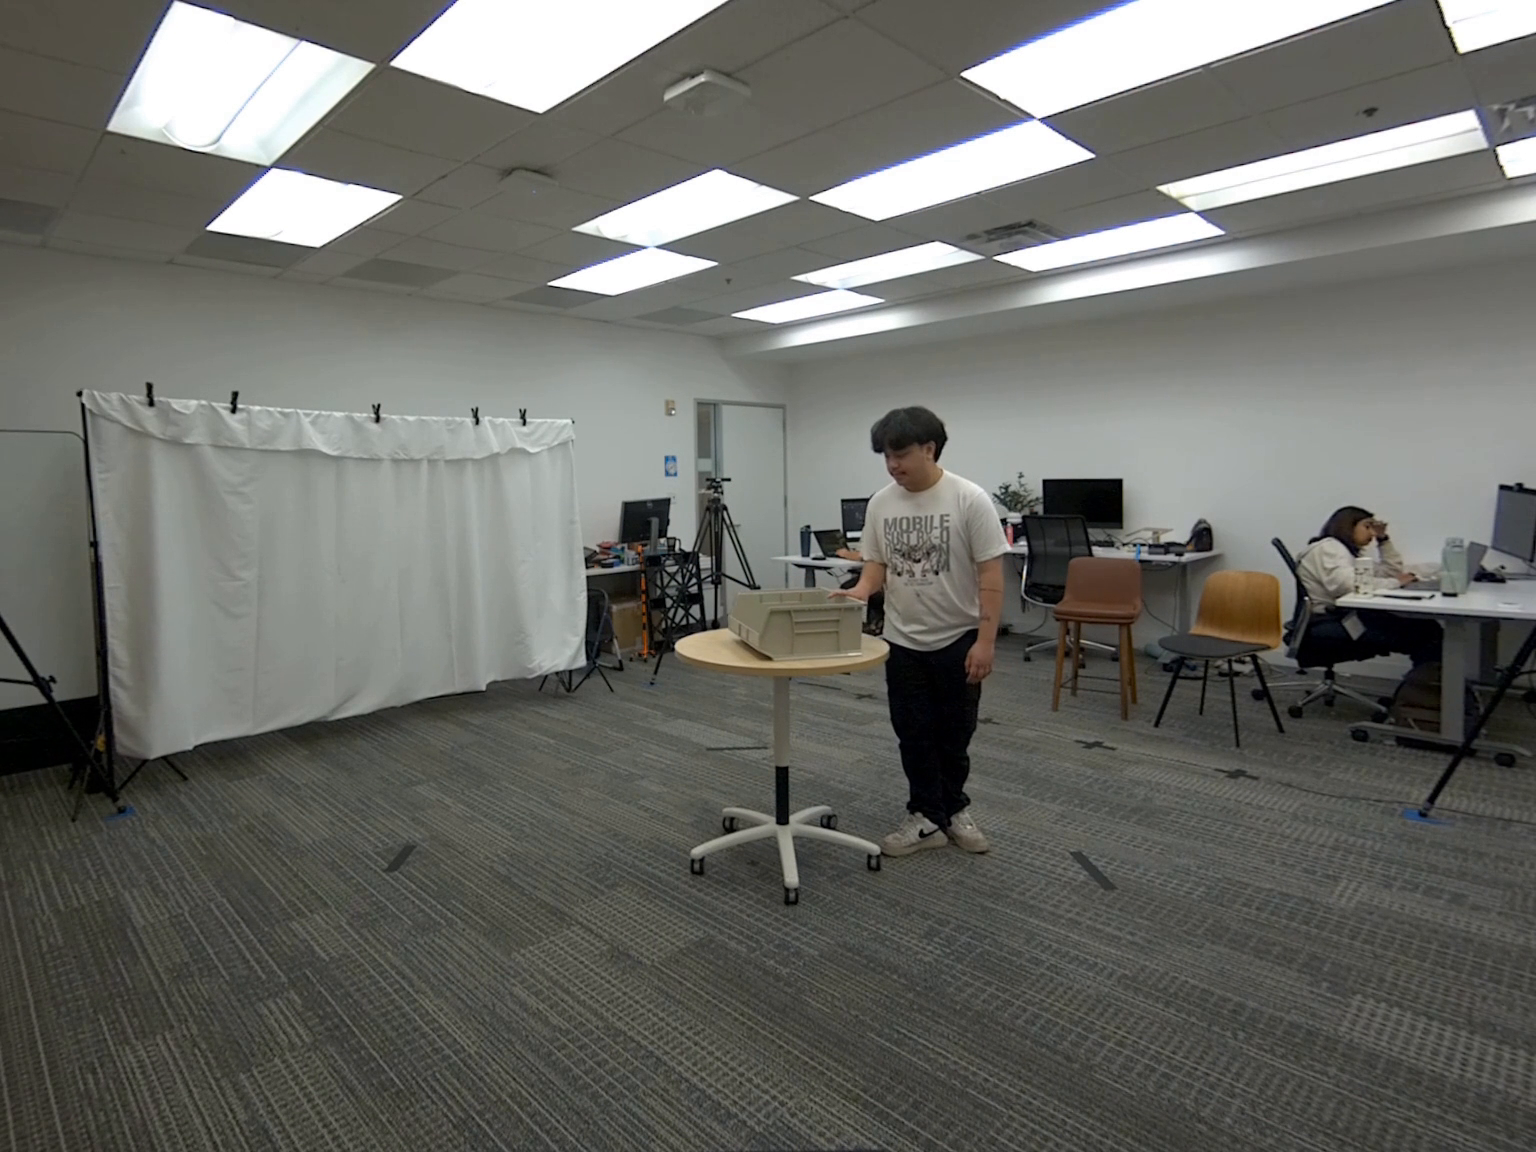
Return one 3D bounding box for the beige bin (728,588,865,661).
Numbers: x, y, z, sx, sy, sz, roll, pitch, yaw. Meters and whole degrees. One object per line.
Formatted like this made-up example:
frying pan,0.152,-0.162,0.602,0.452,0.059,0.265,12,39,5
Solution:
beige bin,0.089,0.168,3.011,0.372,0.188,0.430,-2,6,-15
